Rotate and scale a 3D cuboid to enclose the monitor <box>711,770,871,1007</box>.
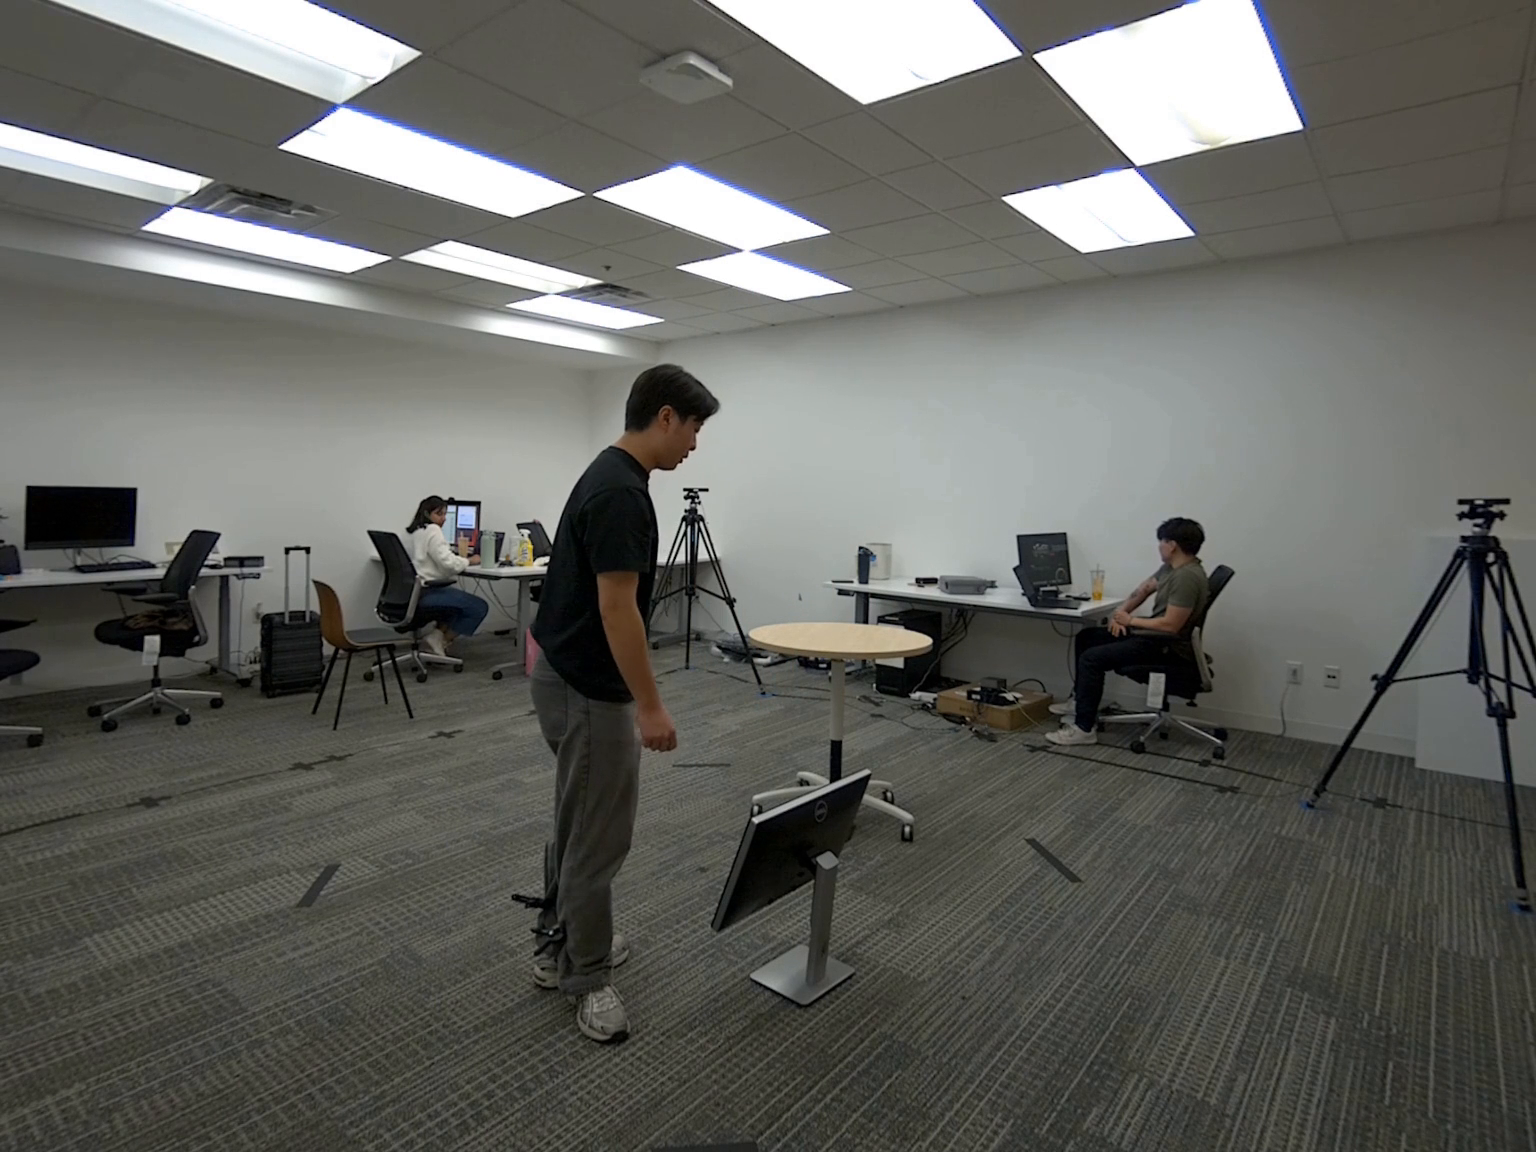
[{"bbox_3d":[0.095,0.884,2.411,0.230,0.563,0.545,6,7,41],"label":"monitor"}]
